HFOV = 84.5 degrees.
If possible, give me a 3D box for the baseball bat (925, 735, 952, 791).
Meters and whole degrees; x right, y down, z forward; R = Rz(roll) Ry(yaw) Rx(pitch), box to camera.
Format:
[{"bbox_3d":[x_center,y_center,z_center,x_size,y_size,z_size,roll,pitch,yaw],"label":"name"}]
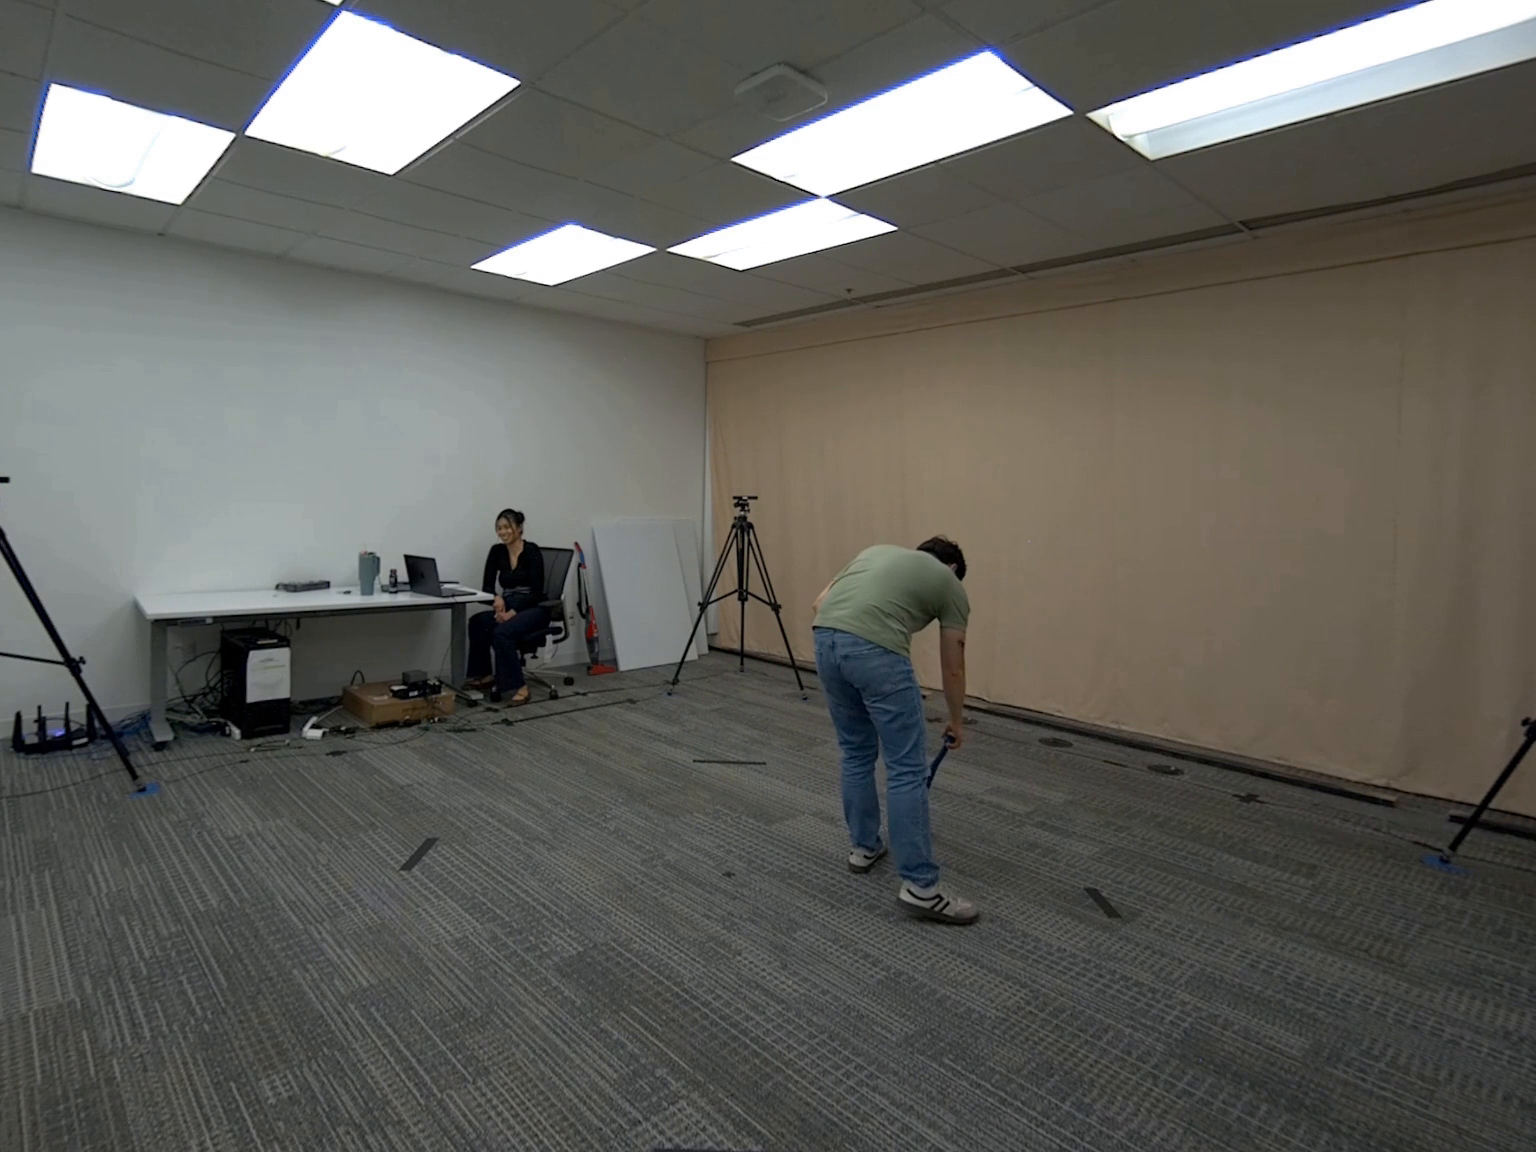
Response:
[{"bbox_3d":[0.648,0.854,3.513,0.088,0.536,0.091,13,37,-11],"label":"baseball bat"}]
